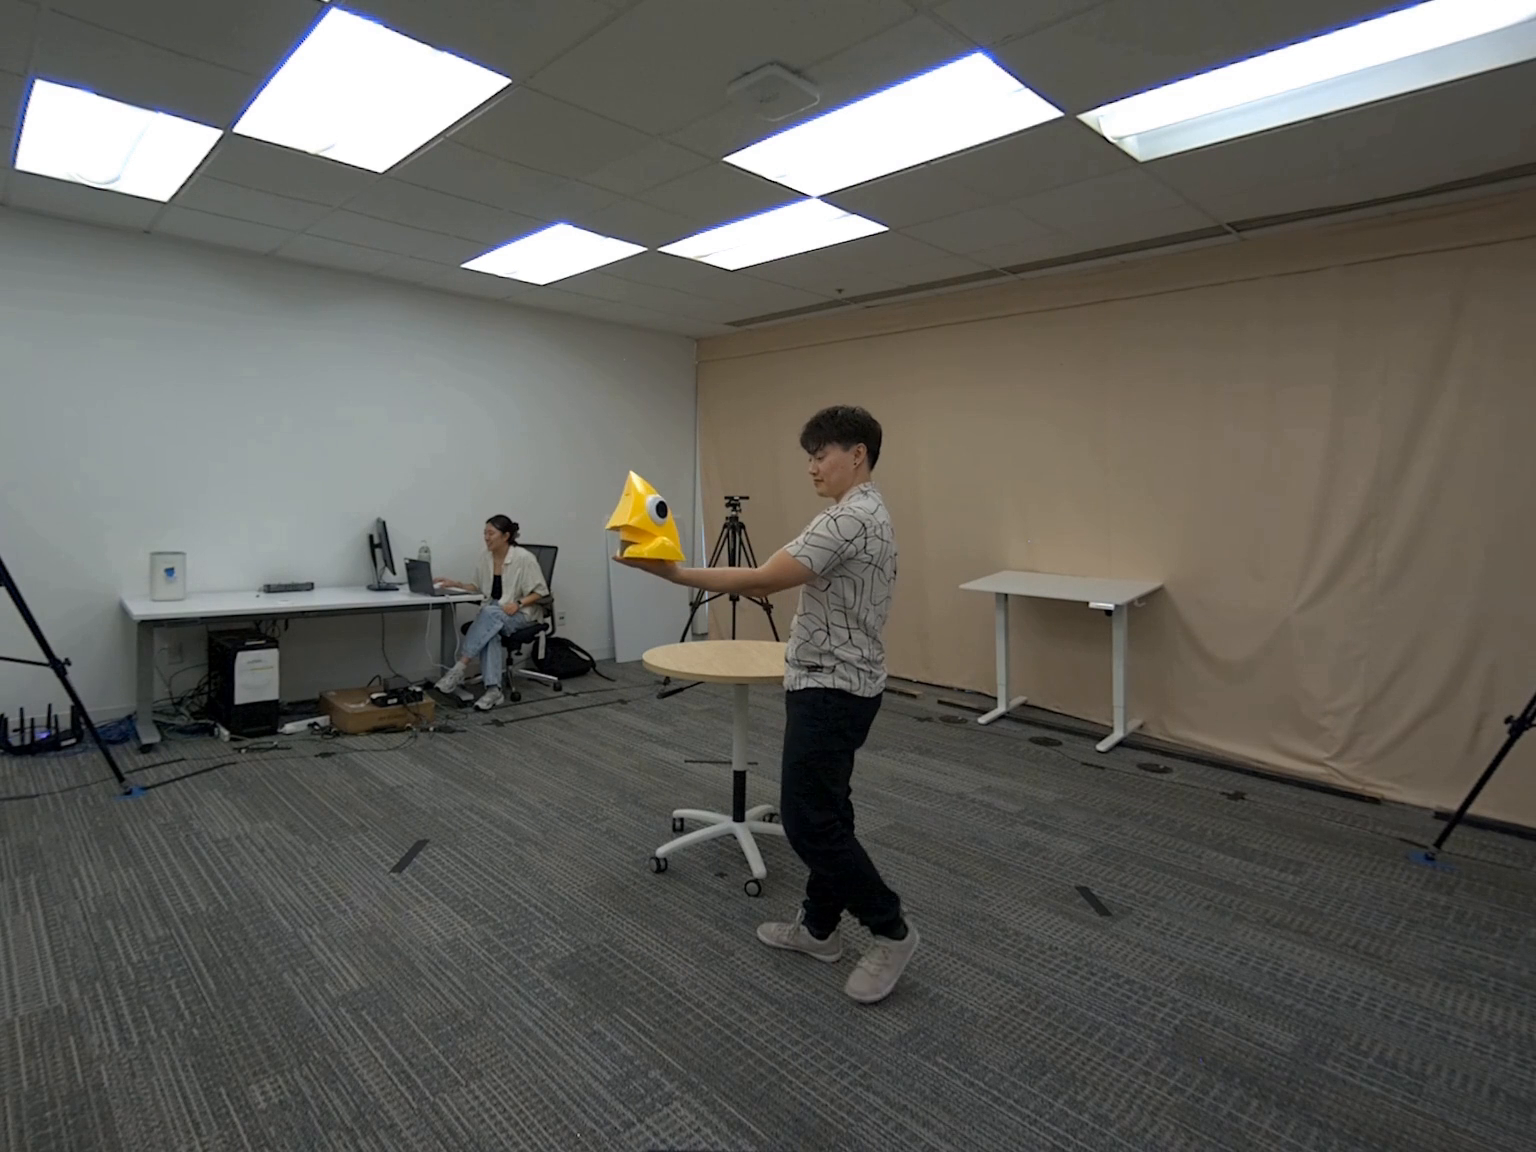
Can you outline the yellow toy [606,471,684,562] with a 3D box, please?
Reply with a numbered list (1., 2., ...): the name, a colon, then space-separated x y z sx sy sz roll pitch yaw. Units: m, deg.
1. yellow toy: -0.316 -0.154 2.229 0.189 0.231 0.208 5 -4 -25
